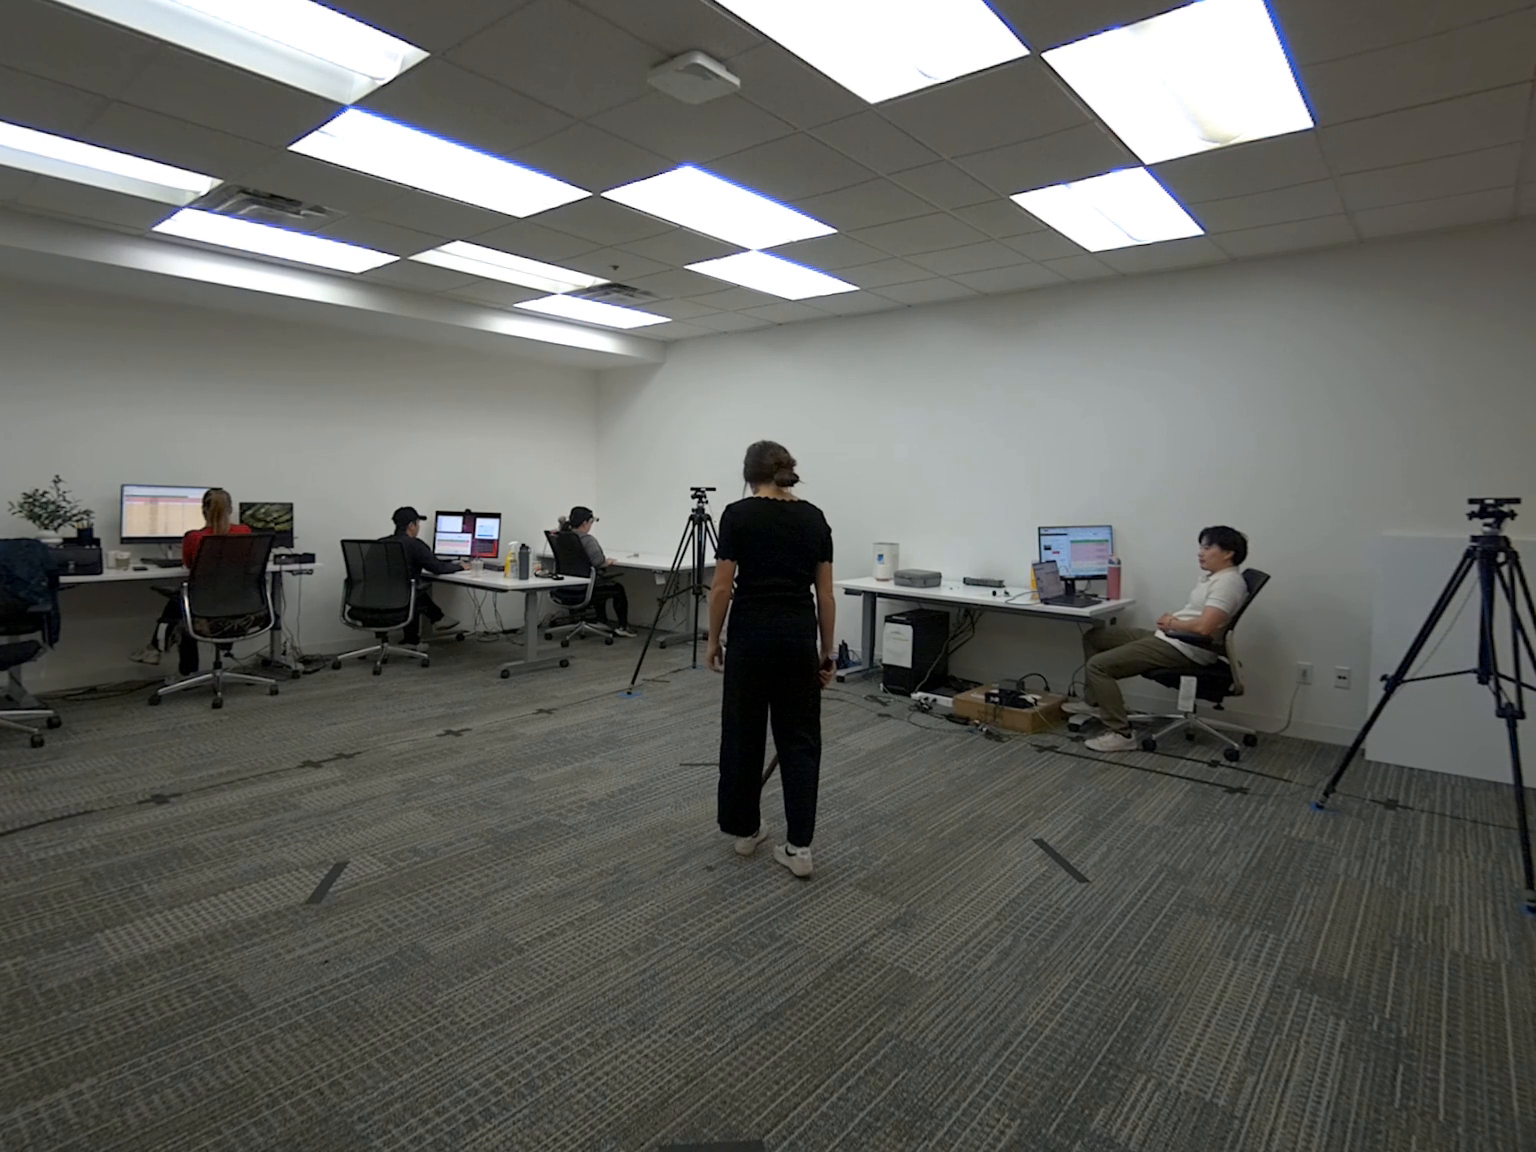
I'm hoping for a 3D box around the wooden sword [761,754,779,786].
[{"bbox_3d":[0.071,0.650,3.525,0.024,1.011,0.052,26,40,0],"label":"wooden sword"}]
